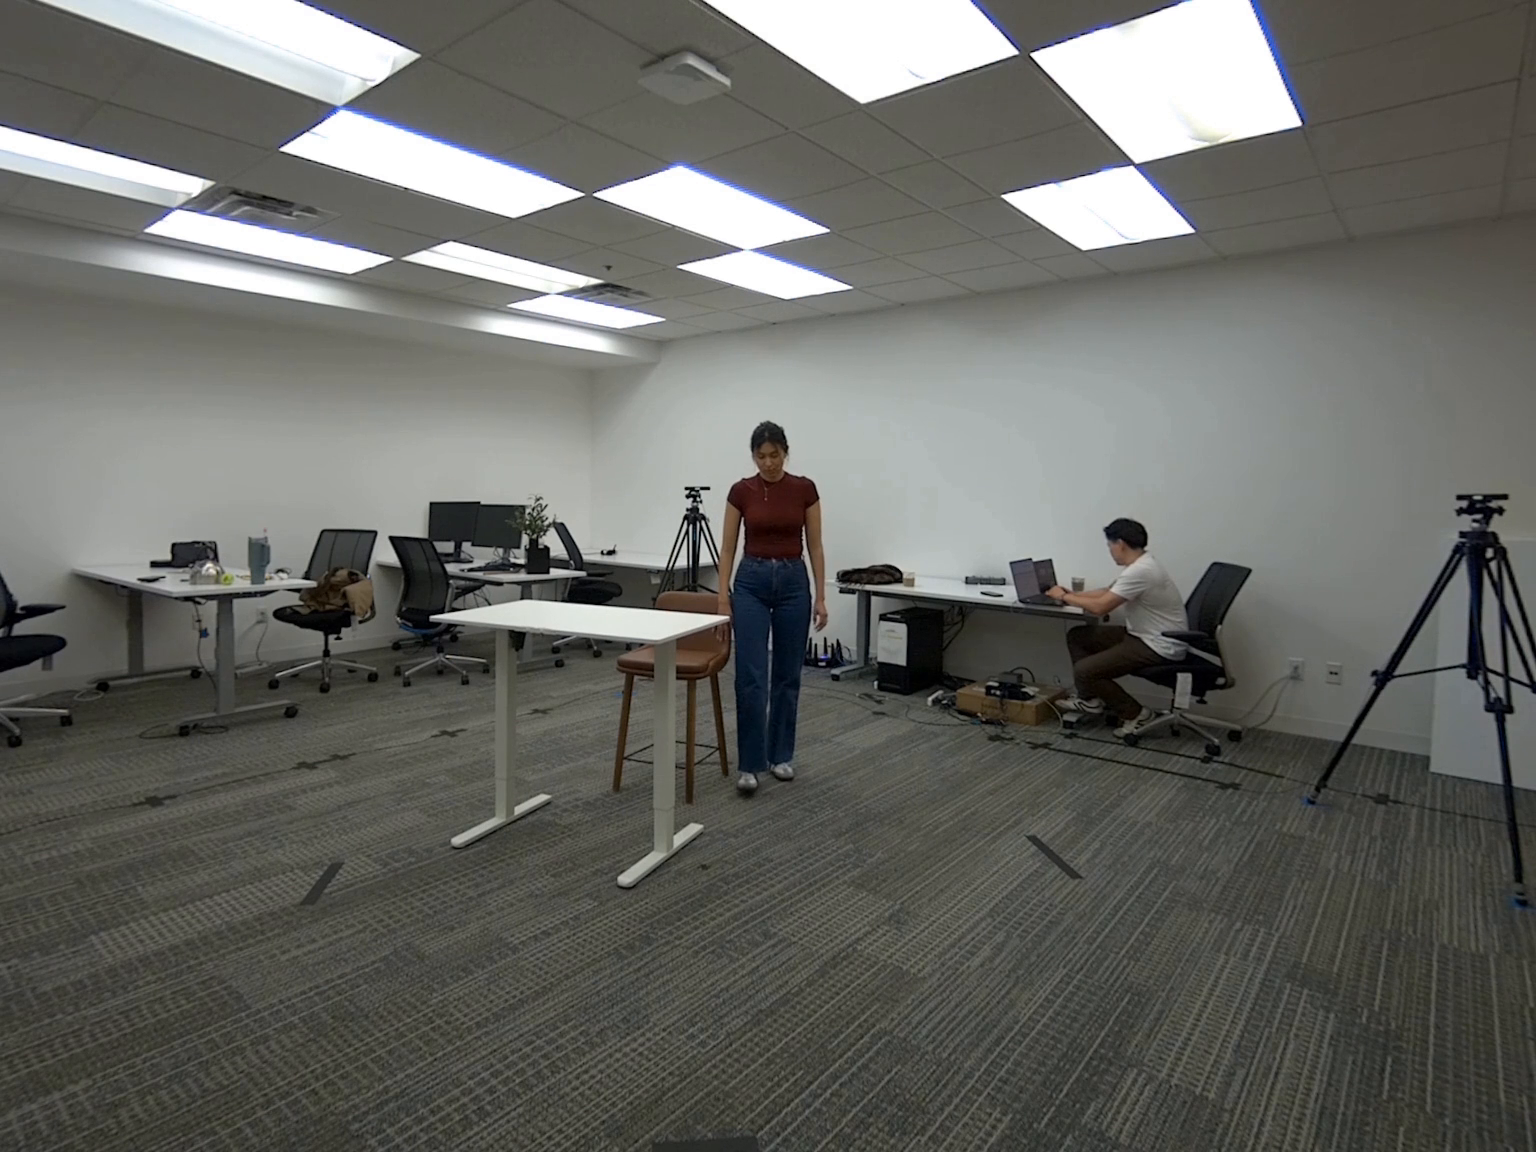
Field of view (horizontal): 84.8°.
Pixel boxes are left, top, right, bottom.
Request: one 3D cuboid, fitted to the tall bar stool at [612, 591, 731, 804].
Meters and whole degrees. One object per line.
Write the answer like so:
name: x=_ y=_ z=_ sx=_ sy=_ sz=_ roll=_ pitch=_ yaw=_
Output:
tall bar stool: x=-0.454 y=0.540 z=4.004 sx=0.468 sy=0.889 sz=0.457 roll=1 pitch=1 yaw=23
